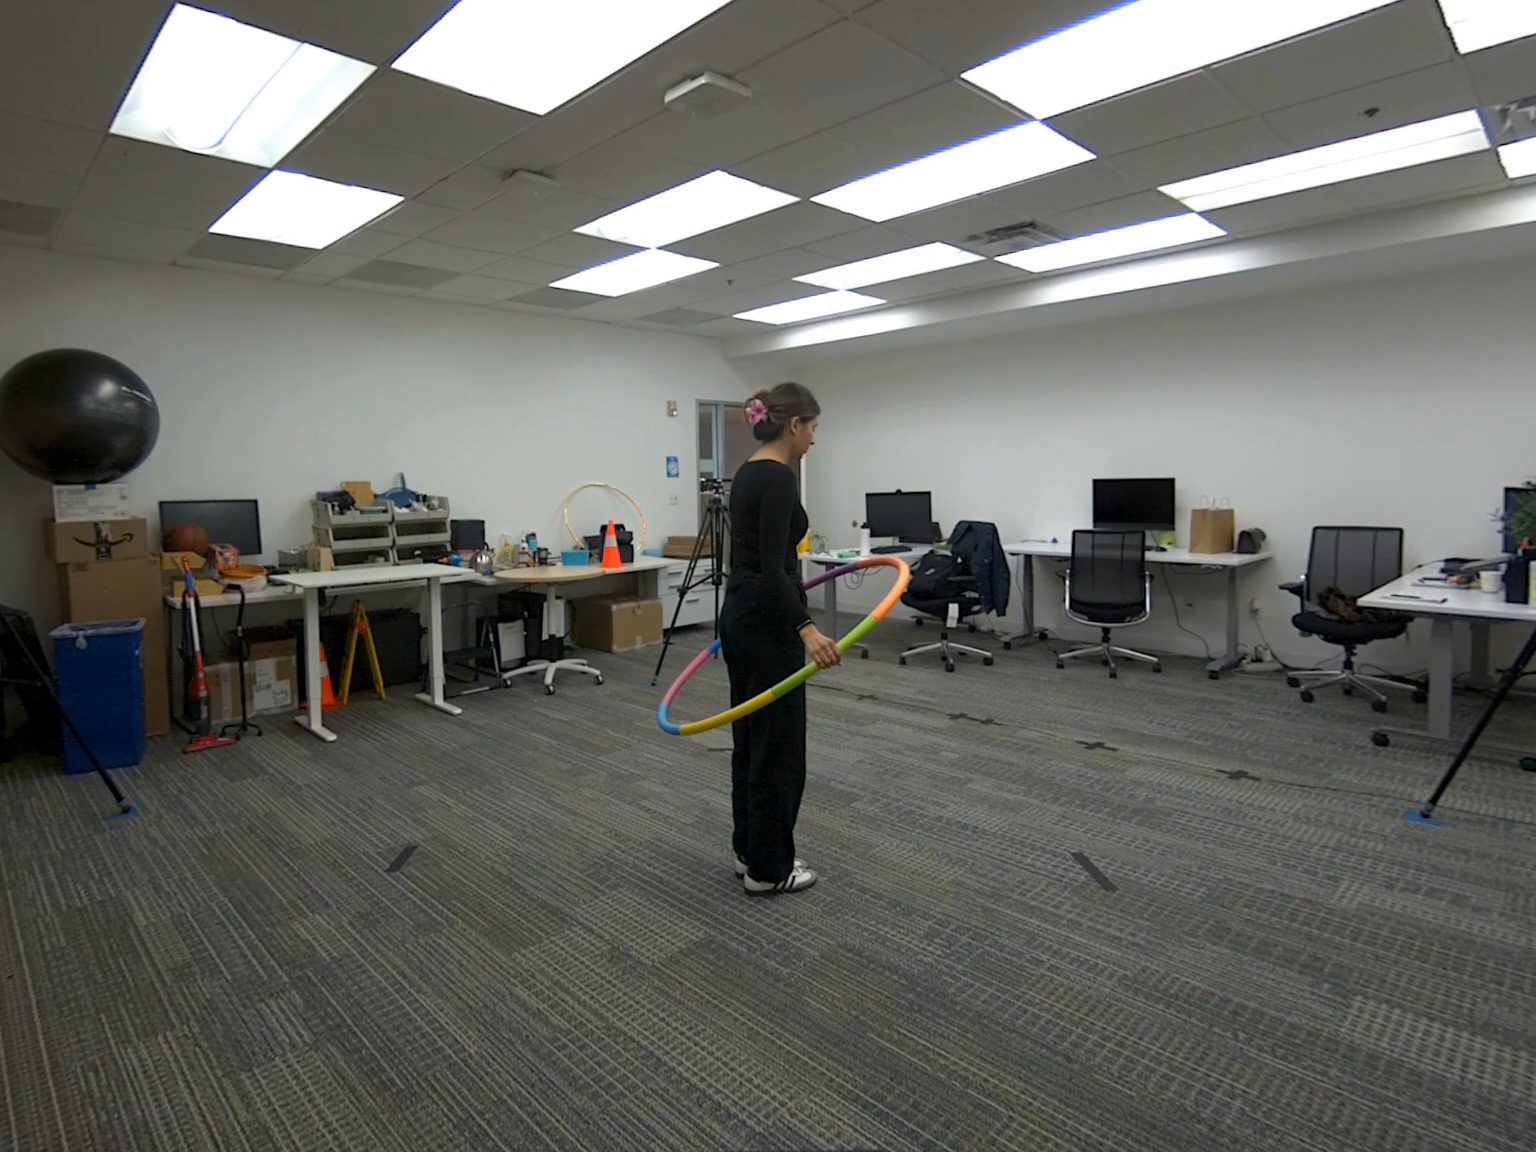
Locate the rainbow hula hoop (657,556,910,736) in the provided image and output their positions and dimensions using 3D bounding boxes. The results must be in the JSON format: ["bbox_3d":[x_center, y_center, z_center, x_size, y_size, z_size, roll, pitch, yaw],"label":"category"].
[{"bbox_3d":[0.032,0.213,2.908,0.980,0.035,0.988,-33,10,3],"label":"rainbow hula hoop"}]
